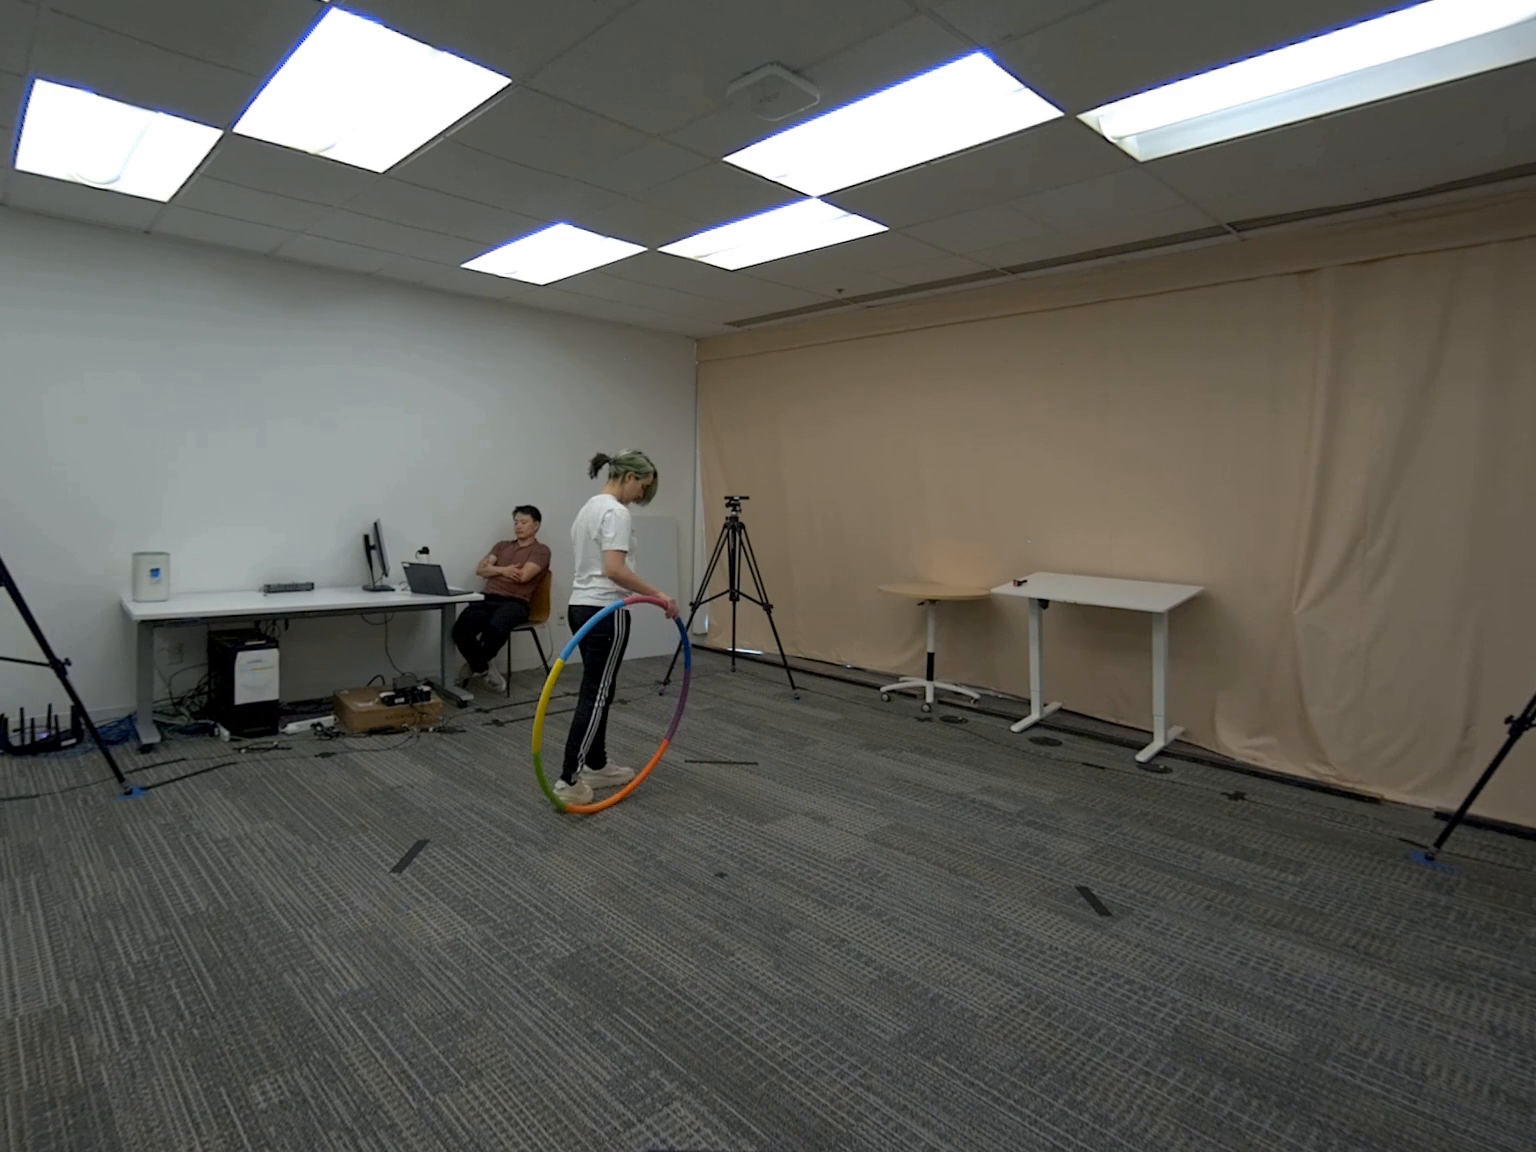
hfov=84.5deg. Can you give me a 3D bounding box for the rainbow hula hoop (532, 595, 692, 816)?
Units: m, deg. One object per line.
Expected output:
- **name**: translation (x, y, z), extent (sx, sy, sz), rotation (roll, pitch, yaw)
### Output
- **rainbow hula hoop**: translation (-0.649, 0.556, 3.662), extent (0.036, 0.973, 0.959), rotation (17, 12, 29)
